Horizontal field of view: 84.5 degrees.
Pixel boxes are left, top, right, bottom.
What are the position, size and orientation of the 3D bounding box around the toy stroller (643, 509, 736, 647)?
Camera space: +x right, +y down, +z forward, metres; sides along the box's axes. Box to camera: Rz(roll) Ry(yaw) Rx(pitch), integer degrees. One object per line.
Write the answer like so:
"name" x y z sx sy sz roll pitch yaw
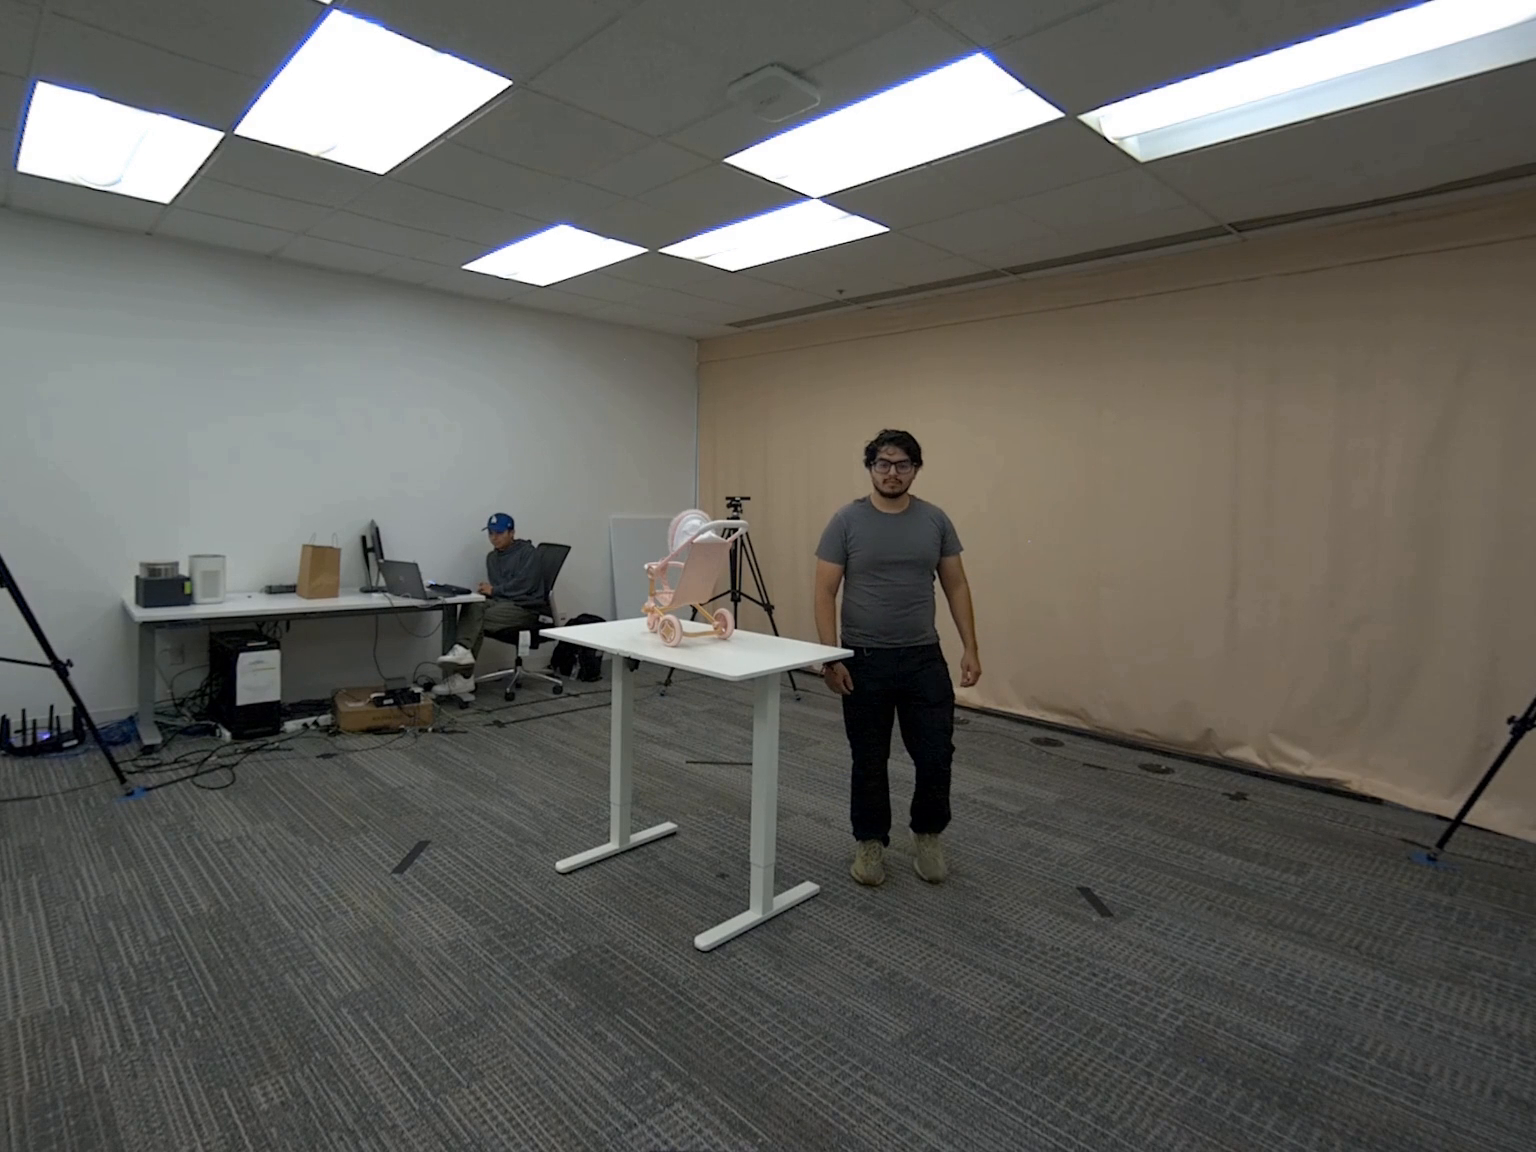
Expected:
"toy stroller" -0.294 0.007 2.983 0.275 0.530 0.352 -1 21 -41
